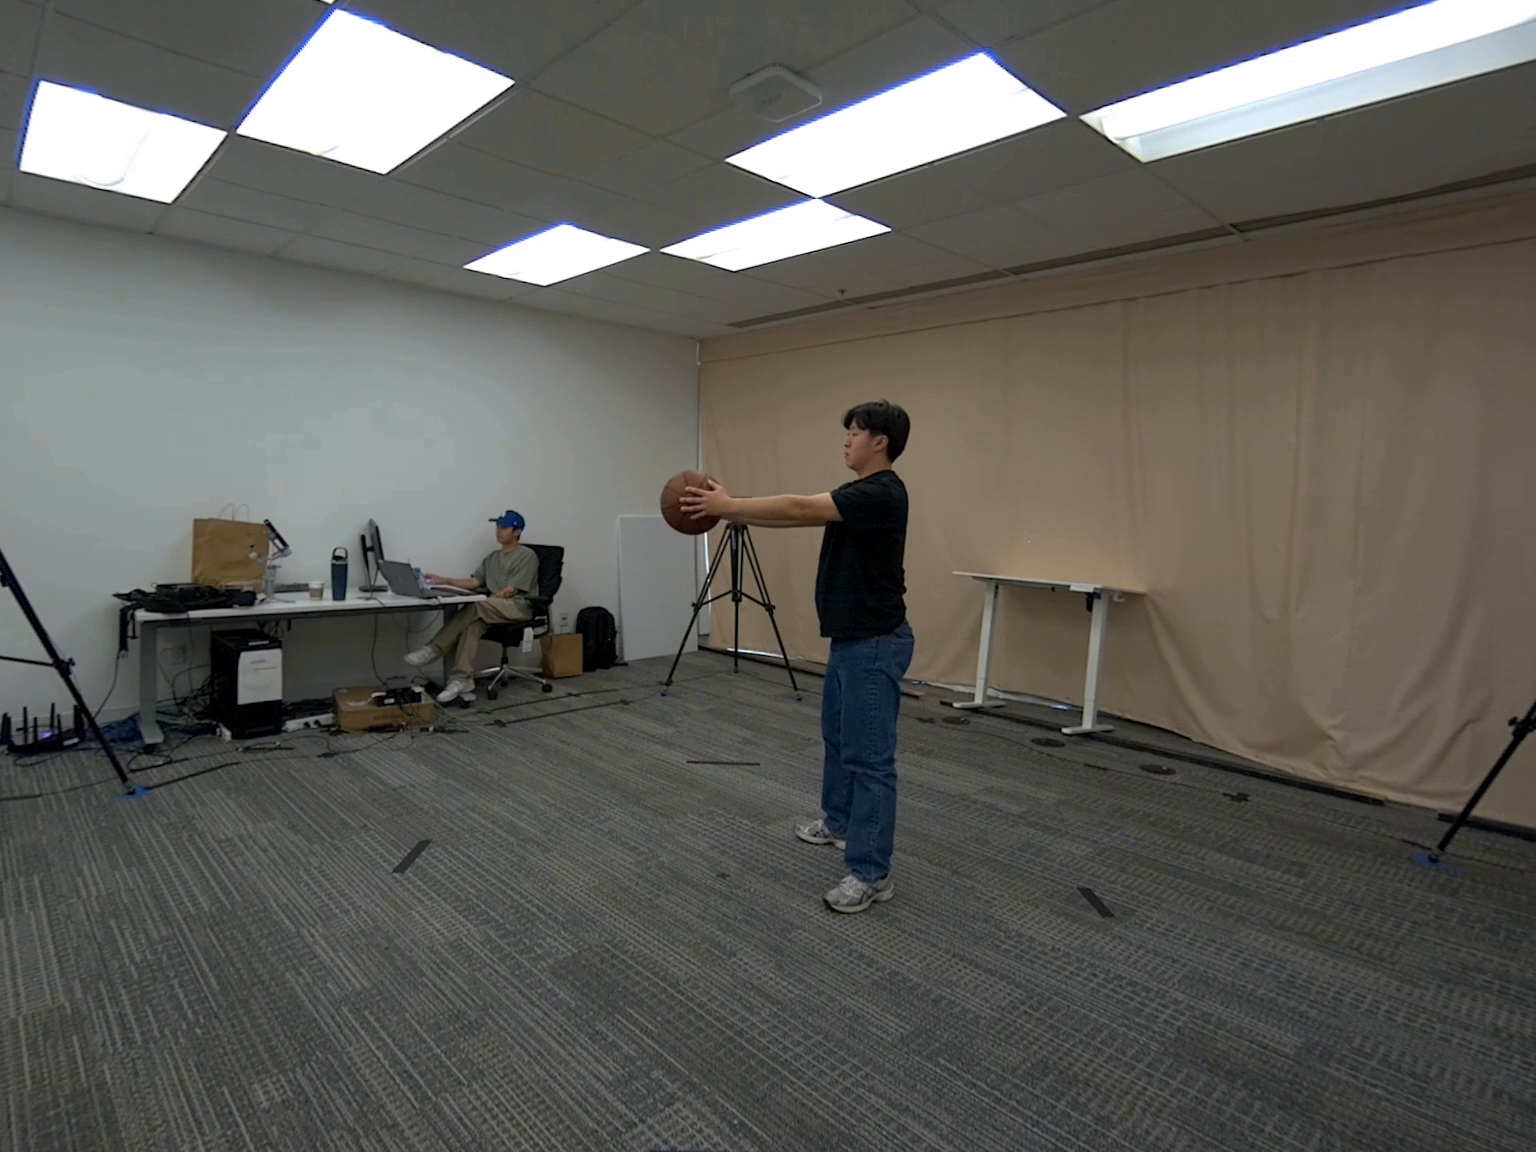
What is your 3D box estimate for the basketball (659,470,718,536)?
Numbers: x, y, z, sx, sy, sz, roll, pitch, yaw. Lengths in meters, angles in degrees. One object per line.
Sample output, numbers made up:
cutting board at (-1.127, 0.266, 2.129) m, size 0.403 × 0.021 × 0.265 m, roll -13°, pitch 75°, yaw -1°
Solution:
basketball at (-0.282, -0.262, 3.090) m, size 0.236 × 0.235 × 0.237 m, roll 1°, pitch 4°, yaw -1°
